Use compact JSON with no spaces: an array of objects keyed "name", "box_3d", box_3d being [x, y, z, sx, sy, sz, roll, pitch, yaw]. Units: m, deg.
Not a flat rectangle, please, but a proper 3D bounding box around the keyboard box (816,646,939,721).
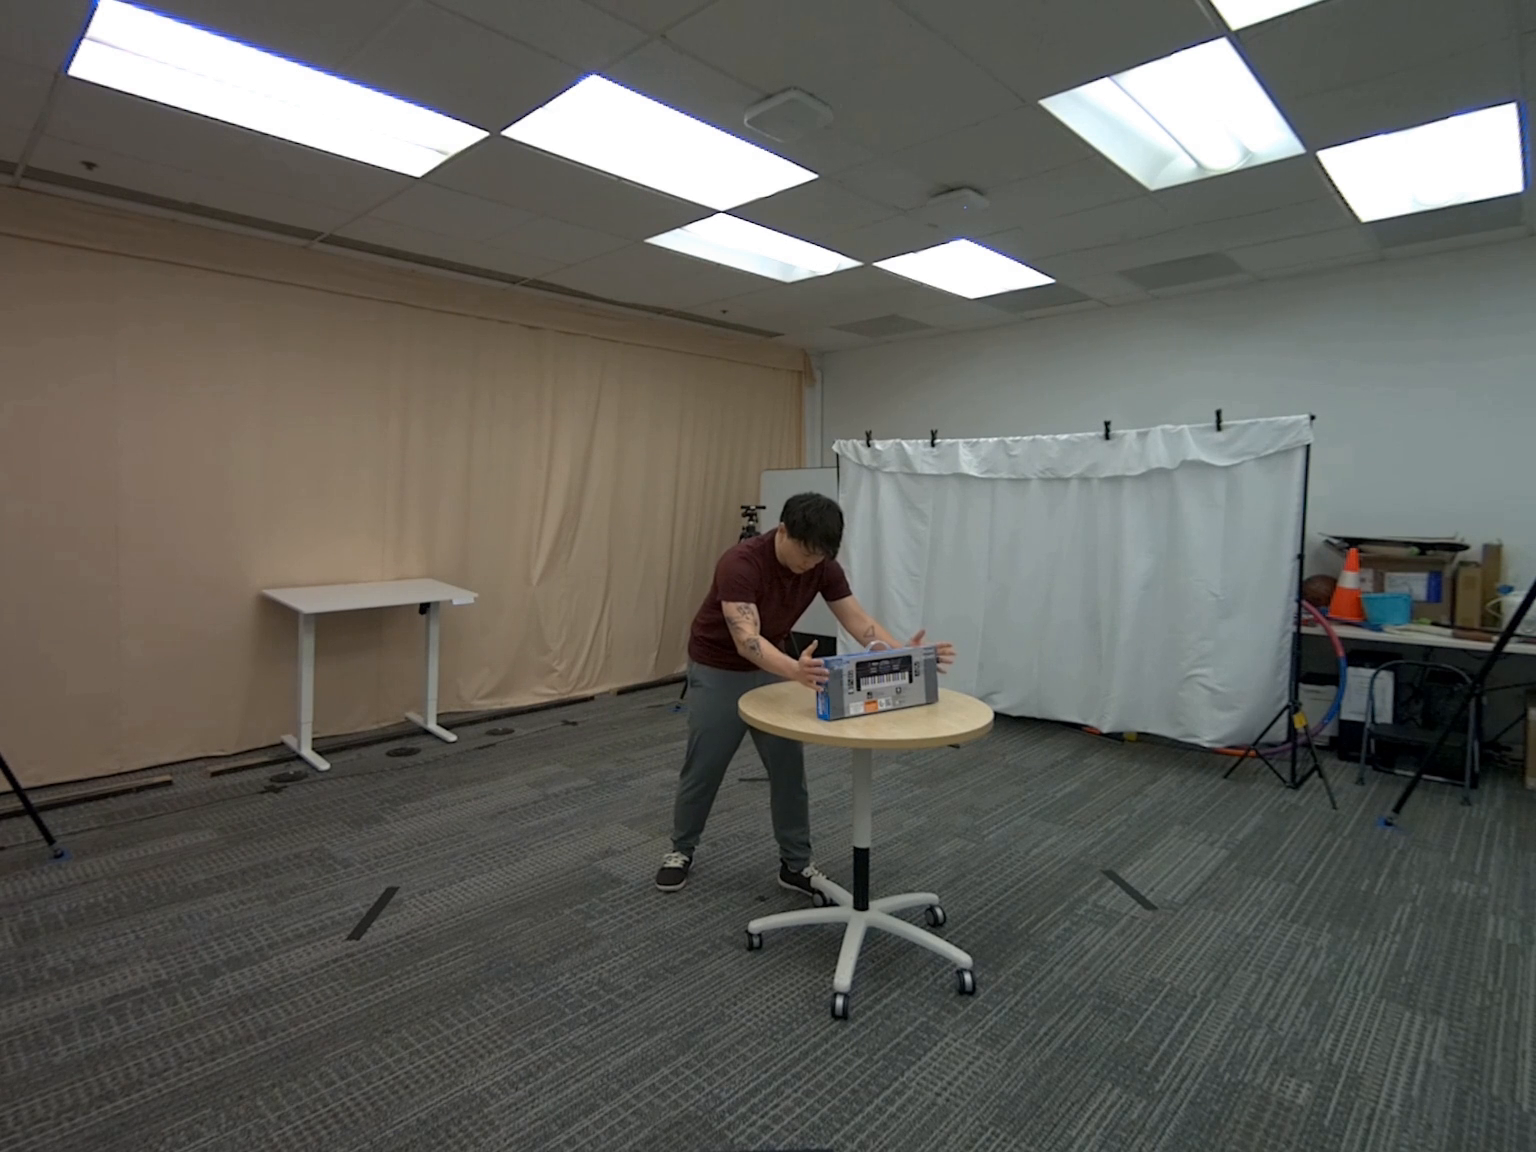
[{"name":"keyboard box","box_3d":[0.339,0.321,2.506,0.425,0.176,0.061,-2,1,-32]}]
